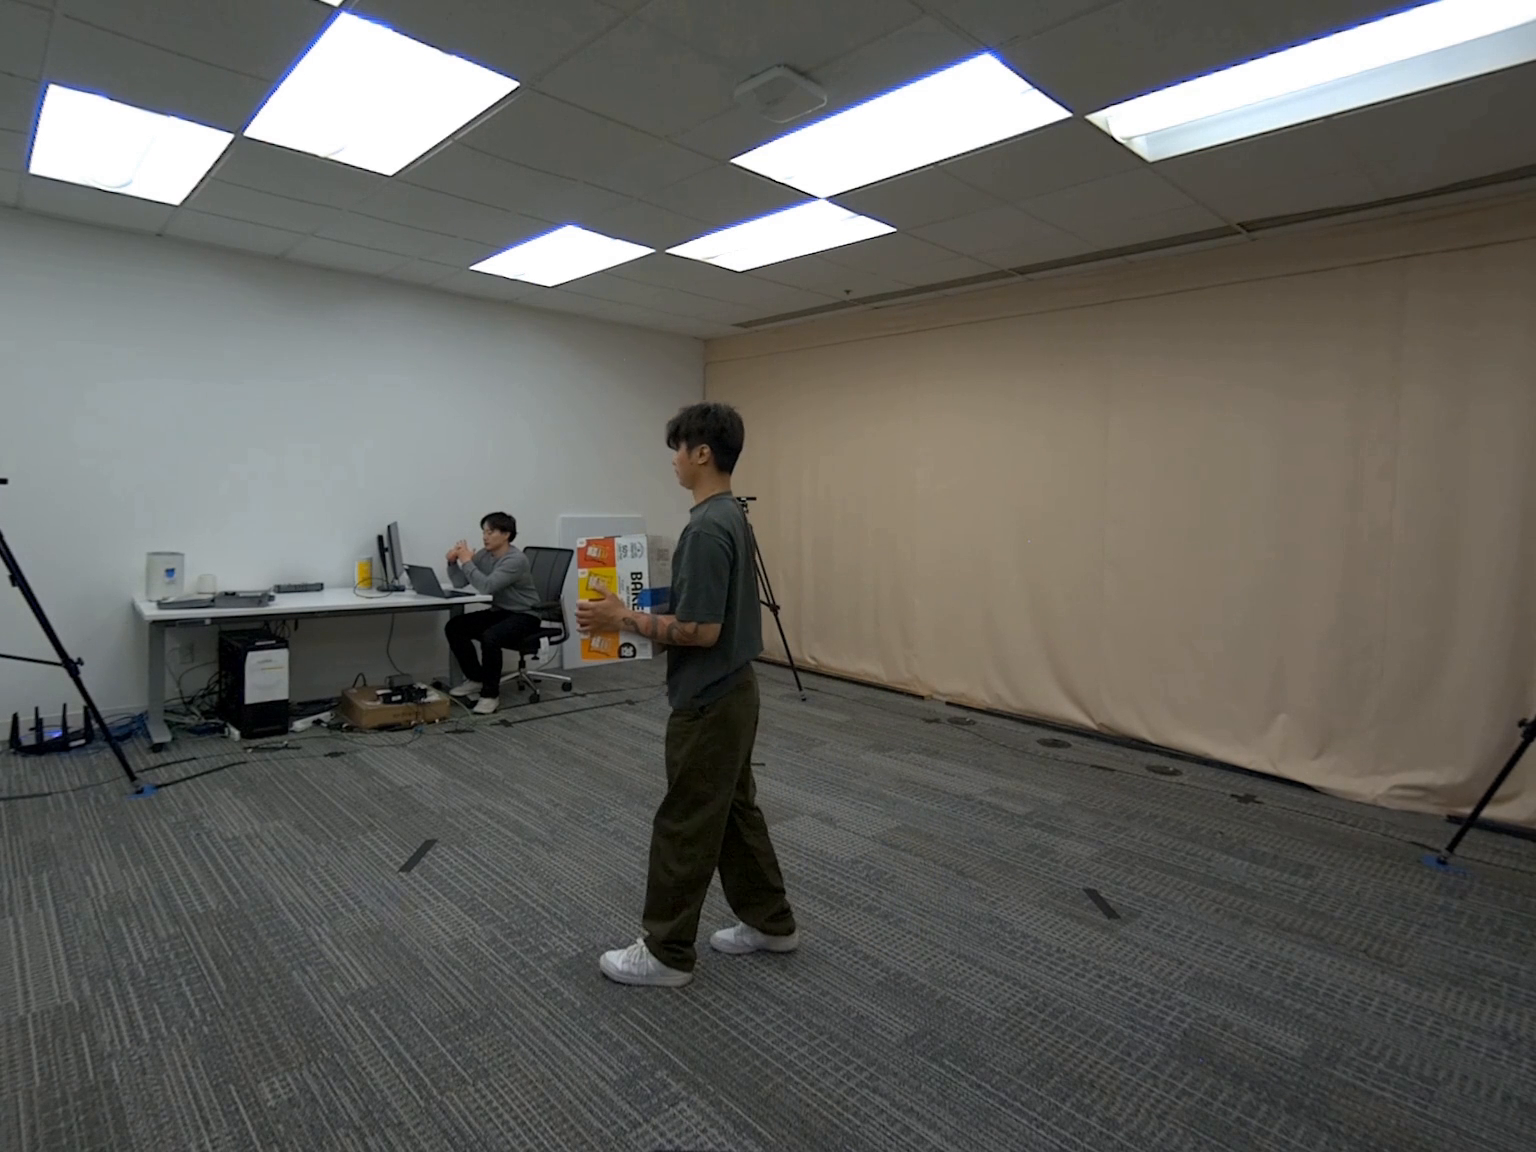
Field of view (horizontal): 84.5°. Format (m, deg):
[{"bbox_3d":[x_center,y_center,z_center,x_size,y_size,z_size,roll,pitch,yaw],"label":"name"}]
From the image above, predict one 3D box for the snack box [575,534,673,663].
[{"bbox_3d":[-0.404,0.053,2.509,0.207,0.340,0.403,-3,0,7],"label":"snack box"}]
